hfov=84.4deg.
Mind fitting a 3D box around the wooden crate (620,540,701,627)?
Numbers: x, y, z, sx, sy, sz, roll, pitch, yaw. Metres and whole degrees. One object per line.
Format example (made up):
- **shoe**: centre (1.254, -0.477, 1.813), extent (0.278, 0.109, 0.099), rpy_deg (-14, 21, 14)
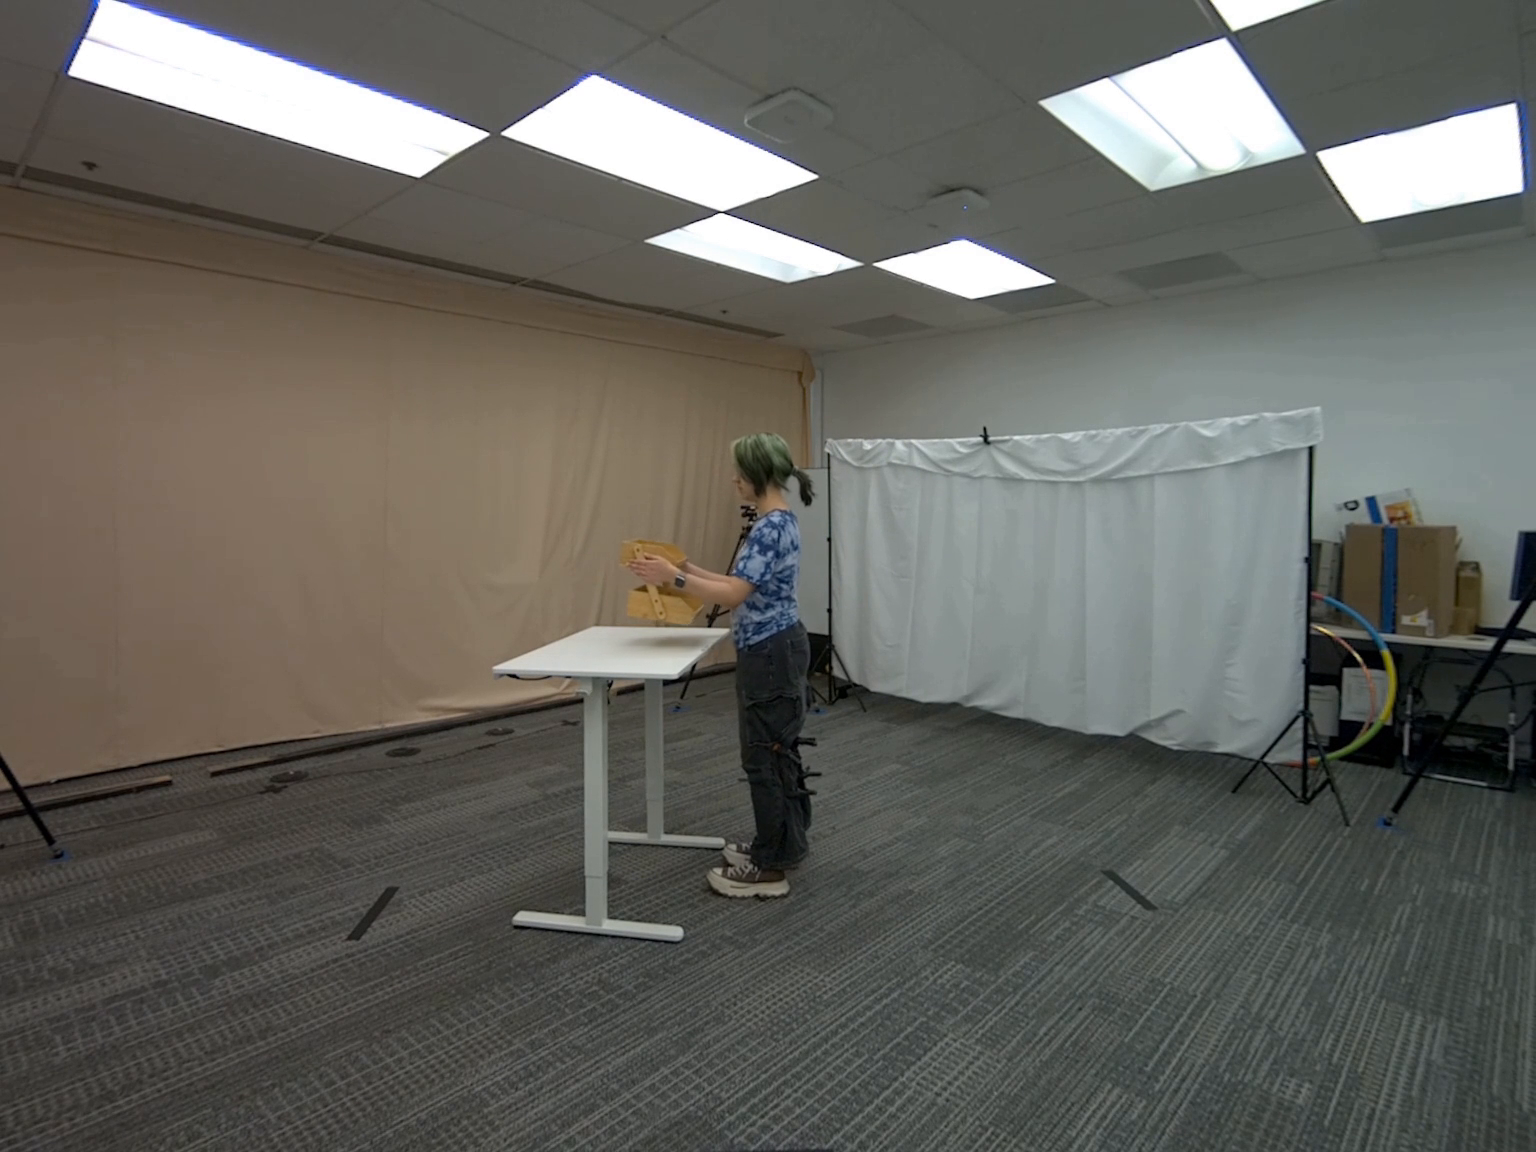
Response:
- **wooden crate**: centre (-0.379, 0.018, 3.142), extent (0.303, 0.273, 0.323), rpy_deg (9, 3, 3)
